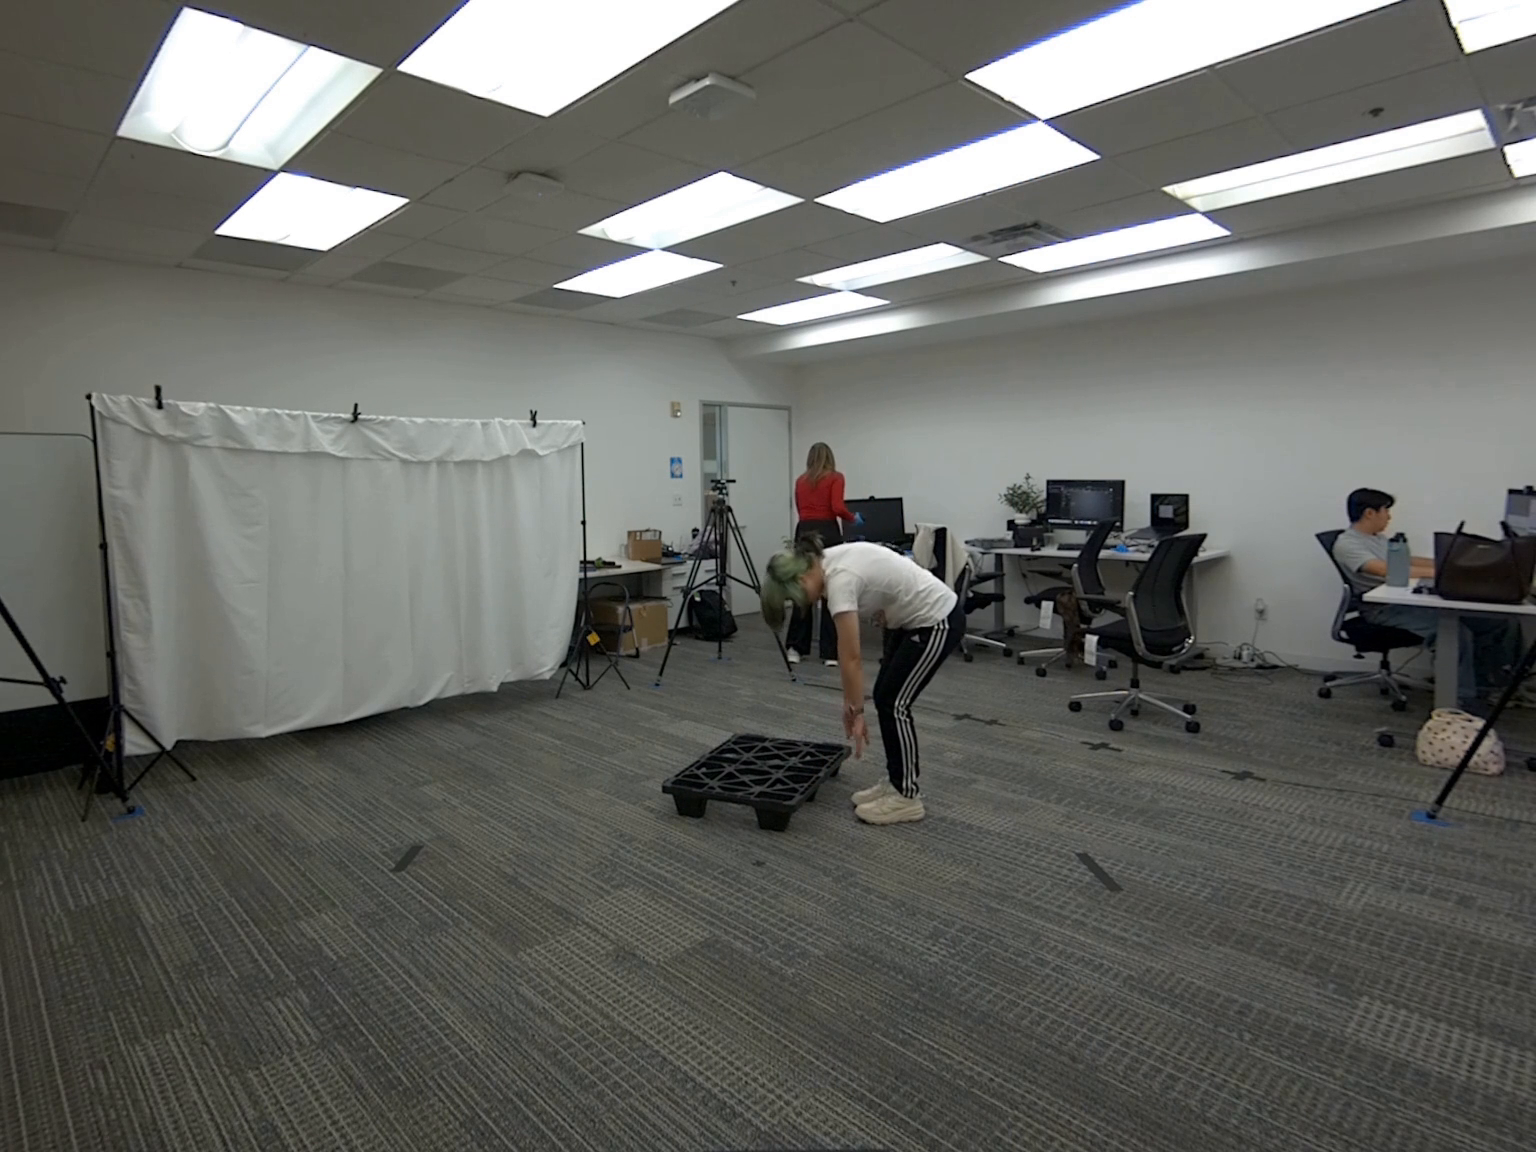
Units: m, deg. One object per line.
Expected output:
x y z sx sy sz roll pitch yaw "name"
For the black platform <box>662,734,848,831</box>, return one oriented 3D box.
-0.017 0.898 3.806 0.619 0.142 0.792 2 7 23 "black platform"
